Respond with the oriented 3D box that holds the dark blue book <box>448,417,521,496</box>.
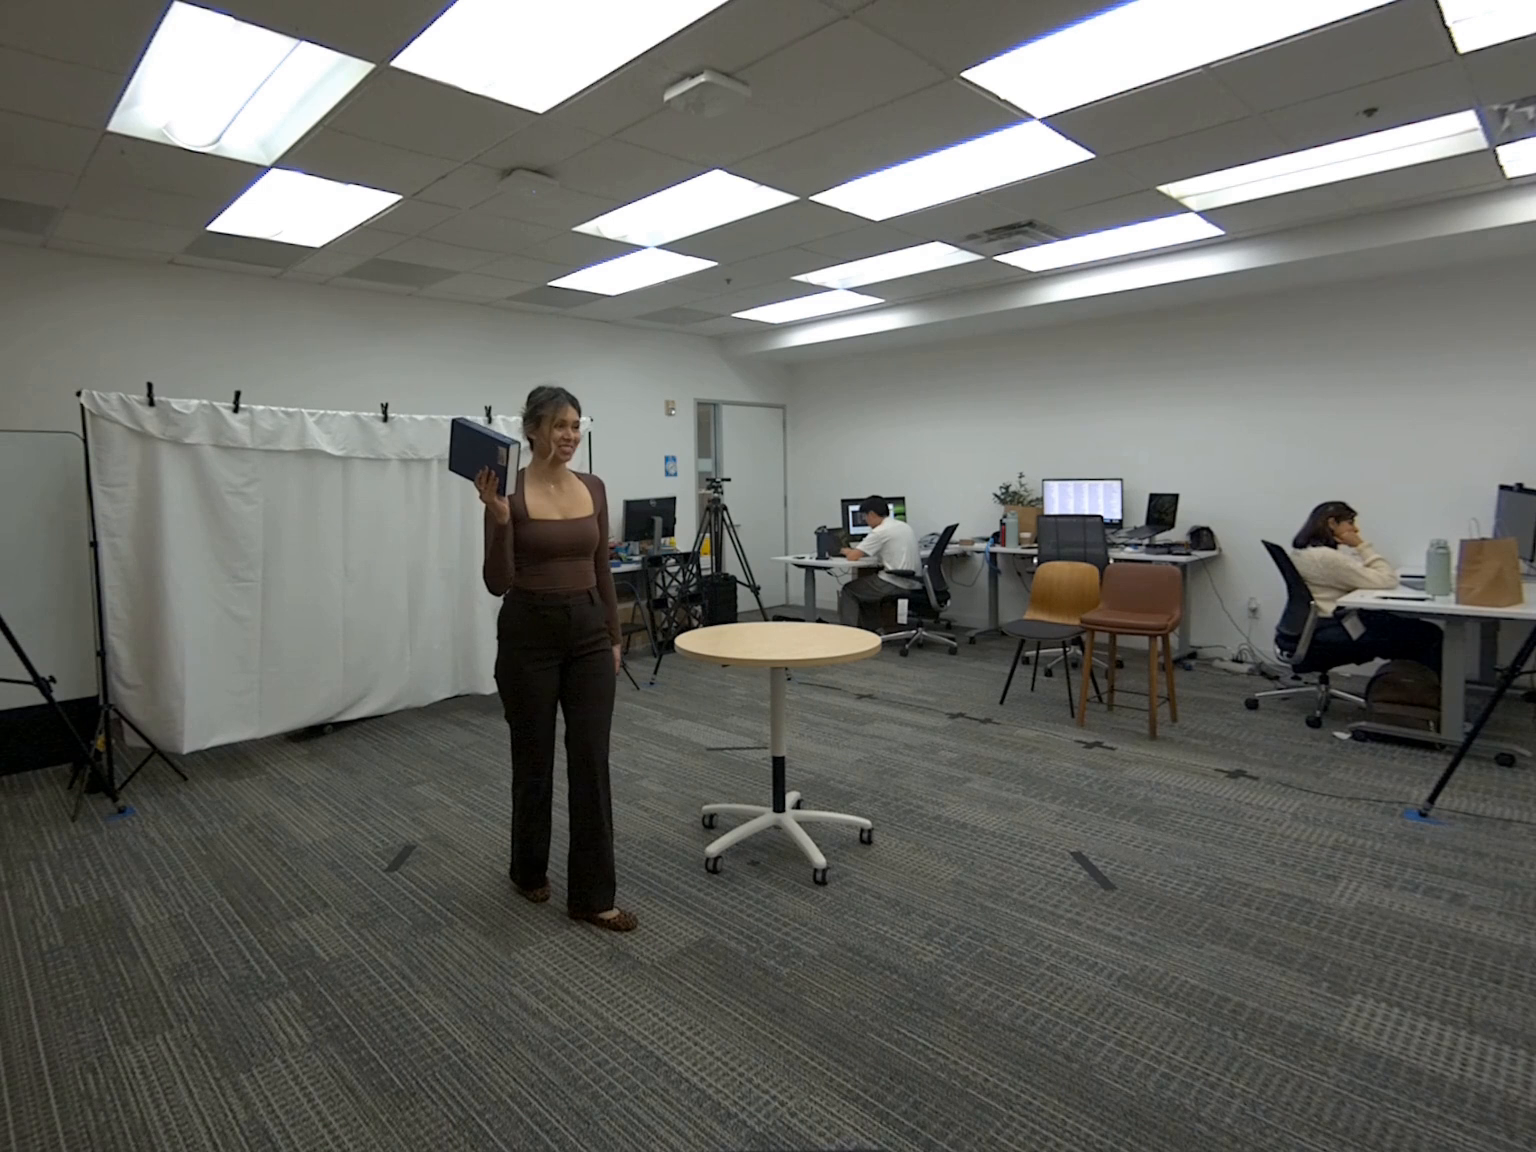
[{"bbox_3d":[-0.821,-0.349,2.469,0.252,0.161,0.044,24,23,27],"label":"dark blue book"}]
